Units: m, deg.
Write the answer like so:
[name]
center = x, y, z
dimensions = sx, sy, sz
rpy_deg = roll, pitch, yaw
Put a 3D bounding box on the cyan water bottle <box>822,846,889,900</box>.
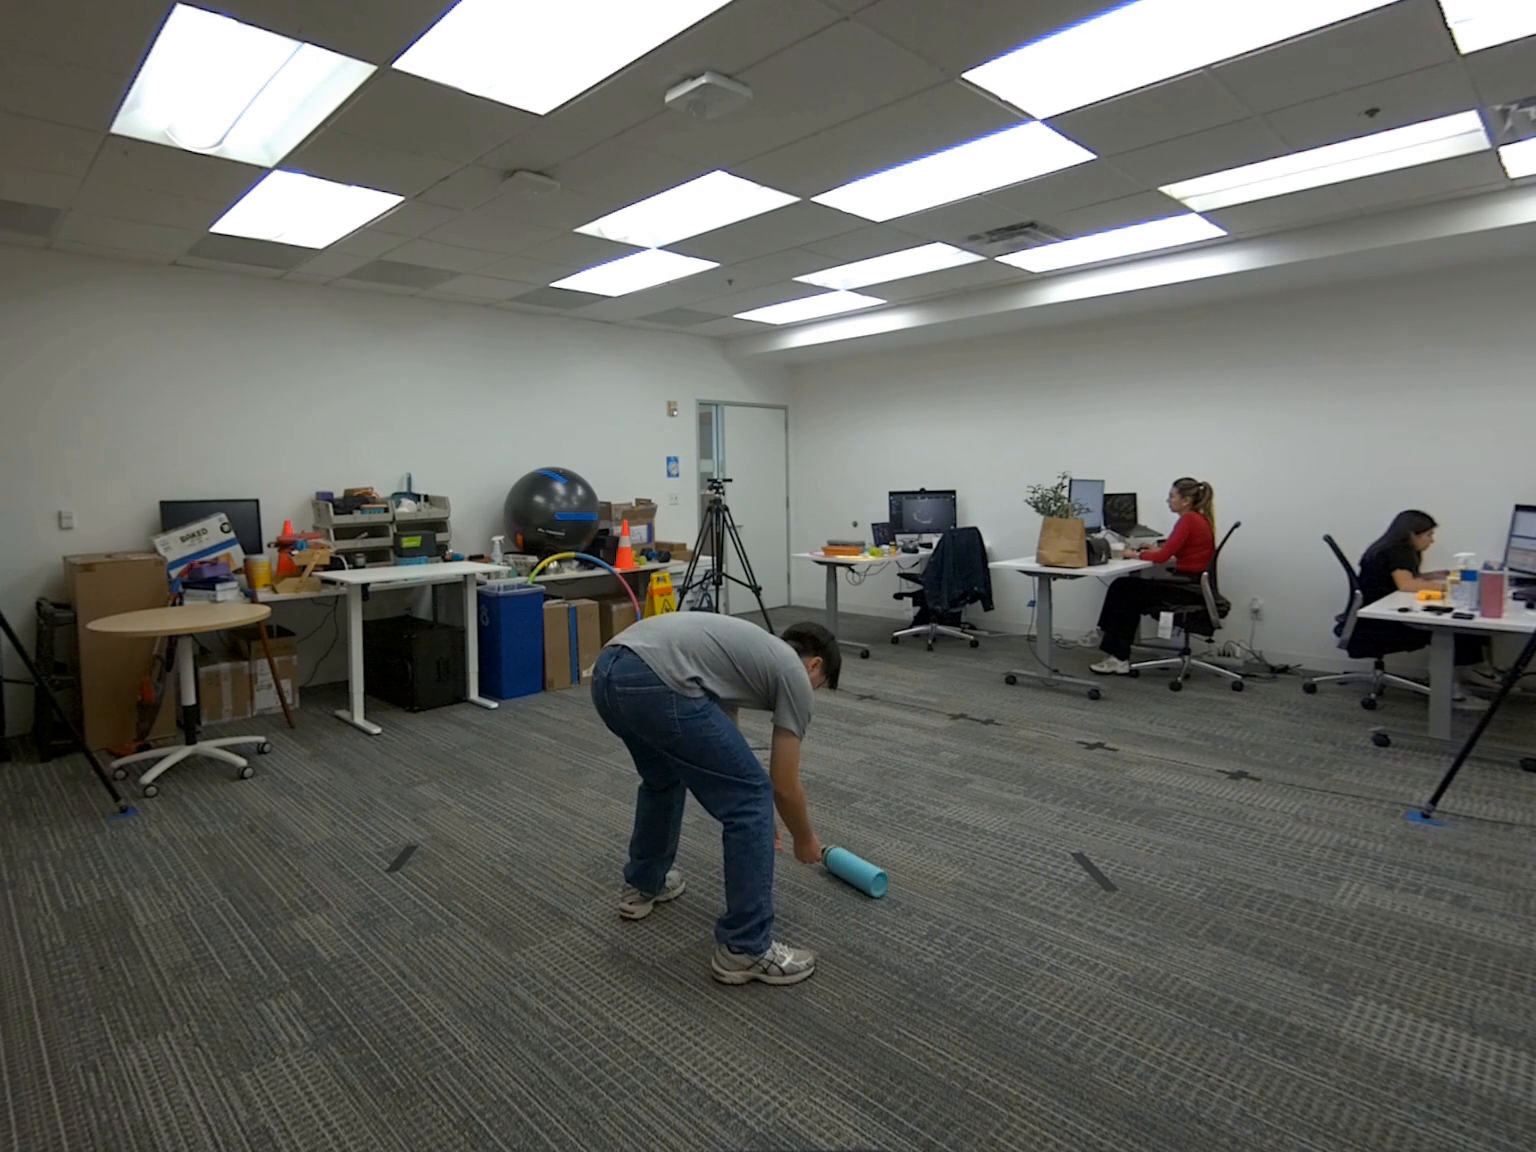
[cyan water bottle]
center = 0.290, 1.009, 2.946
dimensions = 0.090, 0.092, 0.292
rpy_deg = -4, 7, -34
